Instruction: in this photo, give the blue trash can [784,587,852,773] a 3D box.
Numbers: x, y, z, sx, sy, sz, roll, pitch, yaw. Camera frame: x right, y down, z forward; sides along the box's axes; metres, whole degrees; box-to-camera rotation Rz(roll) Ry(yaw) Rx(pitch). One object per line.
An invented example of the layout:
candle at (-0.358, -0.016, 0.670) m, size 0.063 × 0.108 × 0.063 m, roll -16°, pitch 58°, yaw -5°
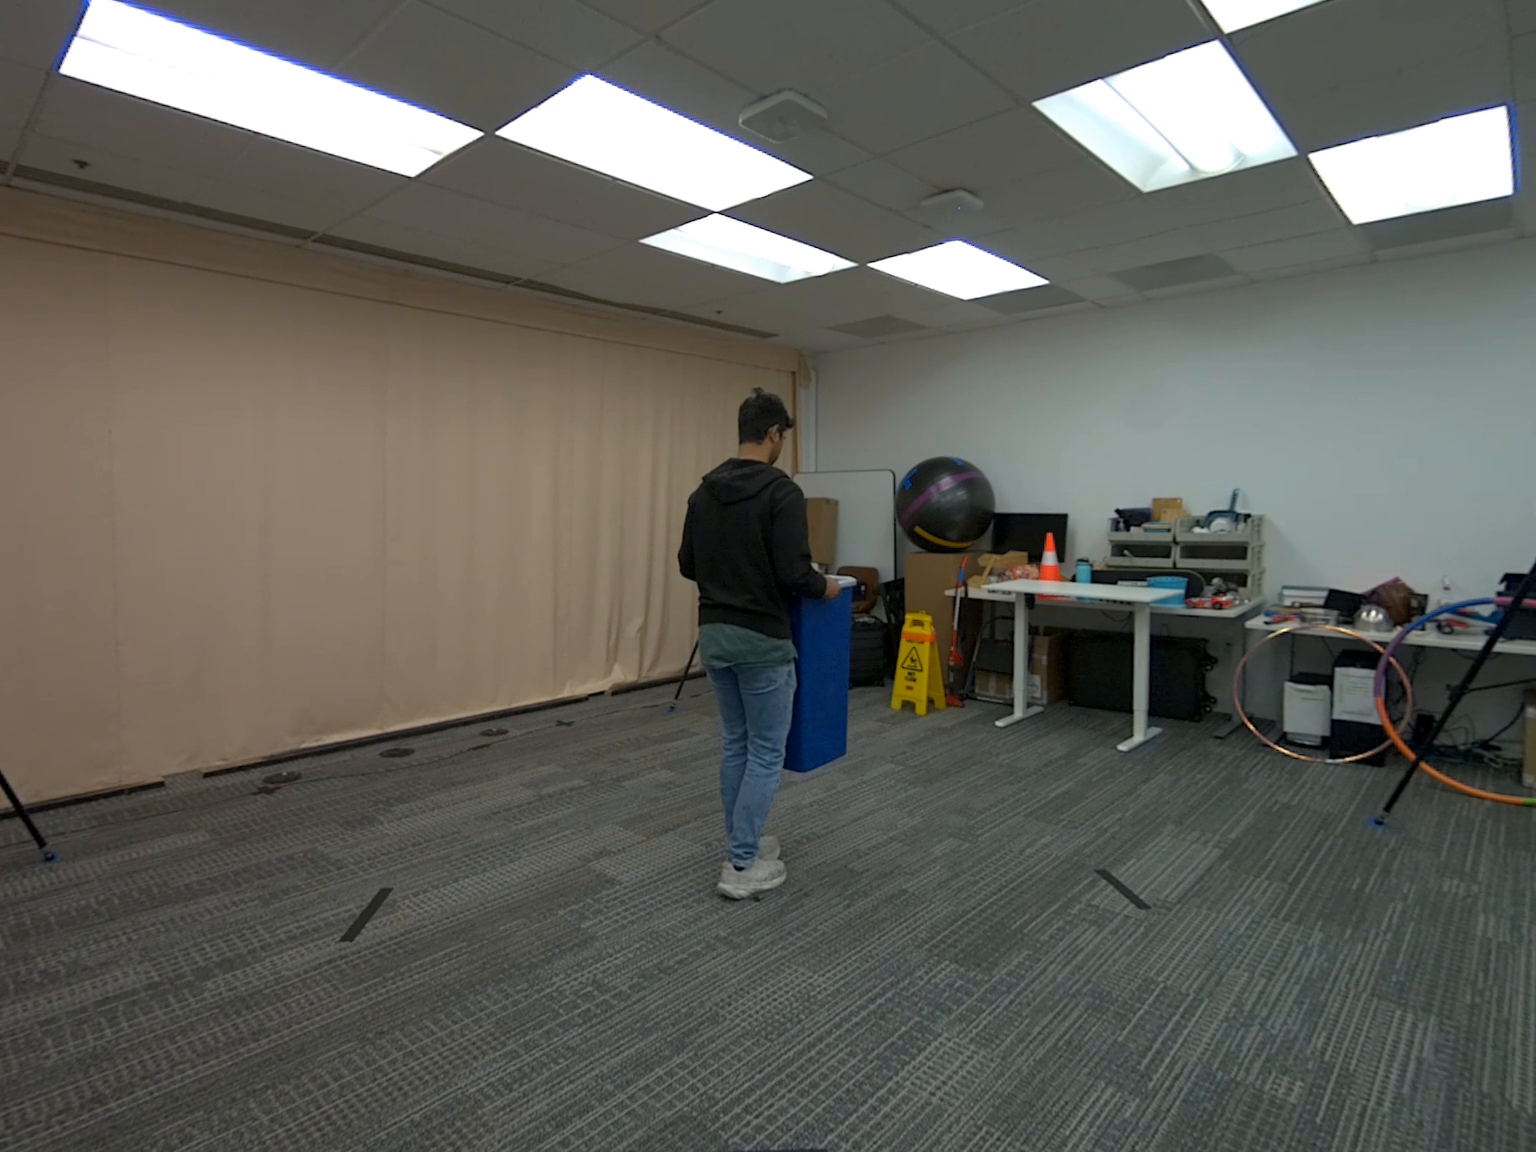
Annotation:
blue trash can at (0.120, 0.374, 3.356) m, size 0.386 × 0.711 × 0.367 m, roll 3°, pitch 6°, yaw 41°
